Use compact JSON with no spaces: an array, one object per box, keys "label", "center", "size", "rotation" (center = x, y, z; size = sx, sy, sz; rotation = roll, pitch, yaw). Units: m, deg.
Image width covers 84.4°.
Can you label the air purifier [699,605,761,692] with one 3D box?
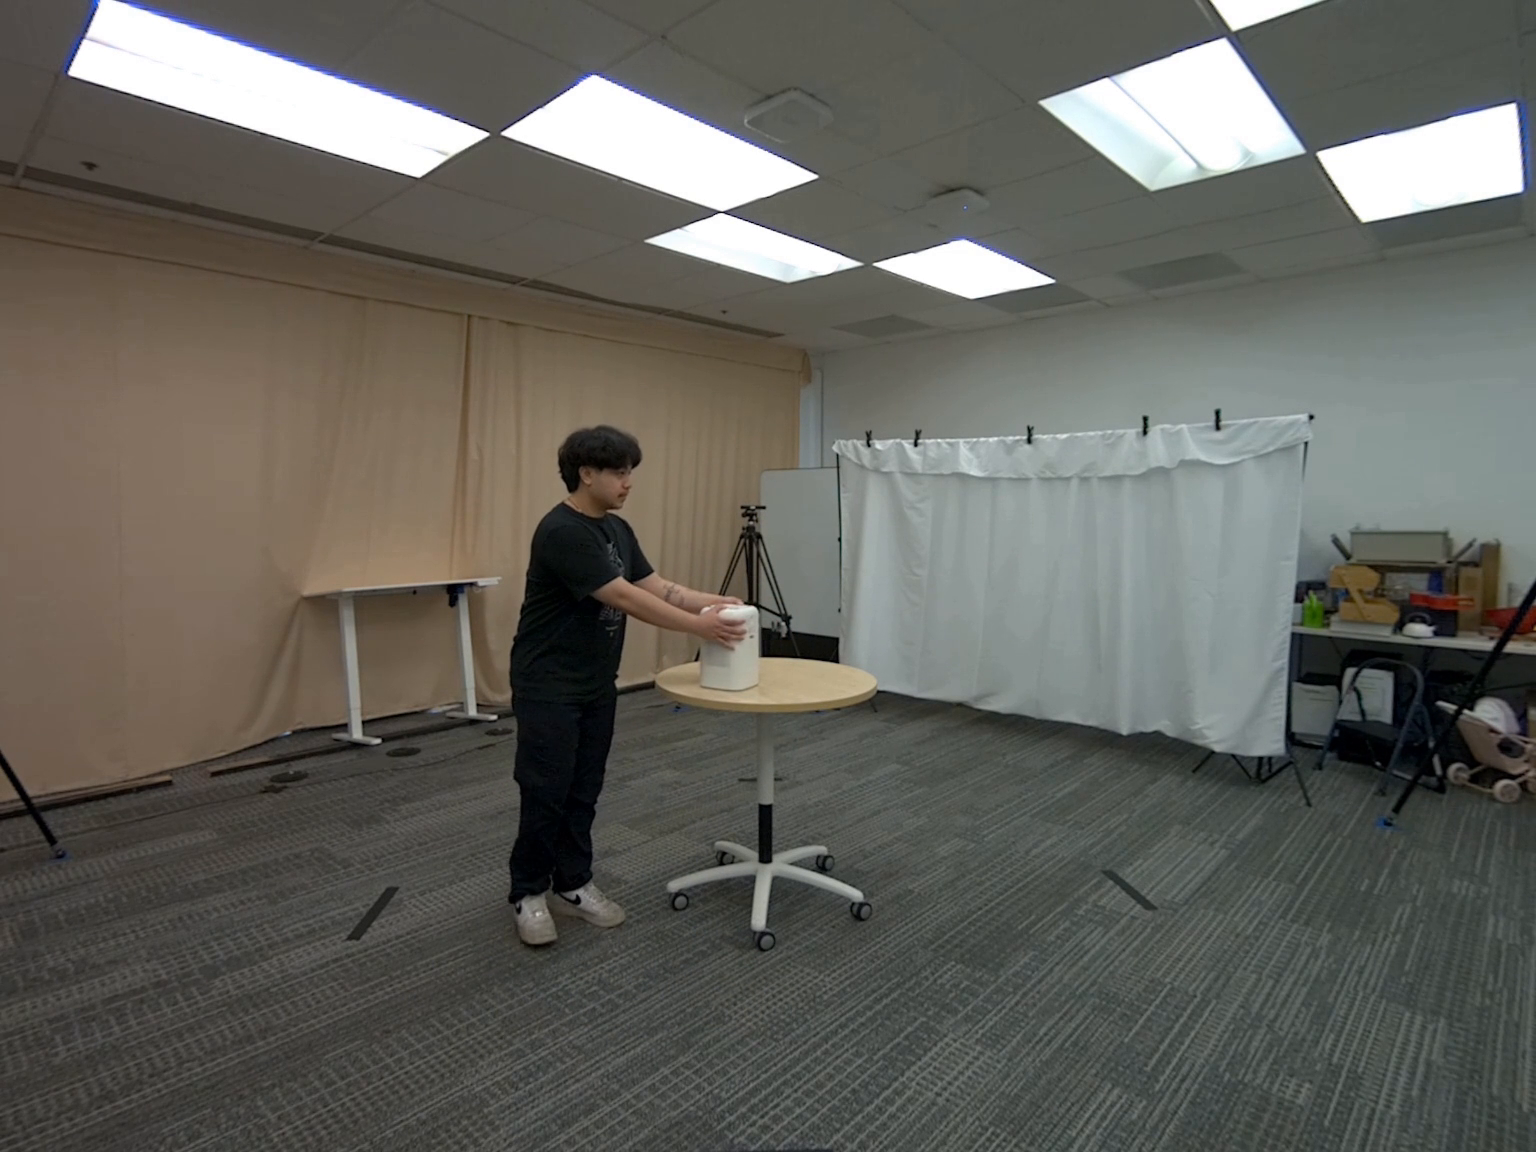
[{"label":"air purifier","center":[-0.127,0.238,2.798],"size":[0.176,0.264,0.167],"rotation":[2,5,29]}]
